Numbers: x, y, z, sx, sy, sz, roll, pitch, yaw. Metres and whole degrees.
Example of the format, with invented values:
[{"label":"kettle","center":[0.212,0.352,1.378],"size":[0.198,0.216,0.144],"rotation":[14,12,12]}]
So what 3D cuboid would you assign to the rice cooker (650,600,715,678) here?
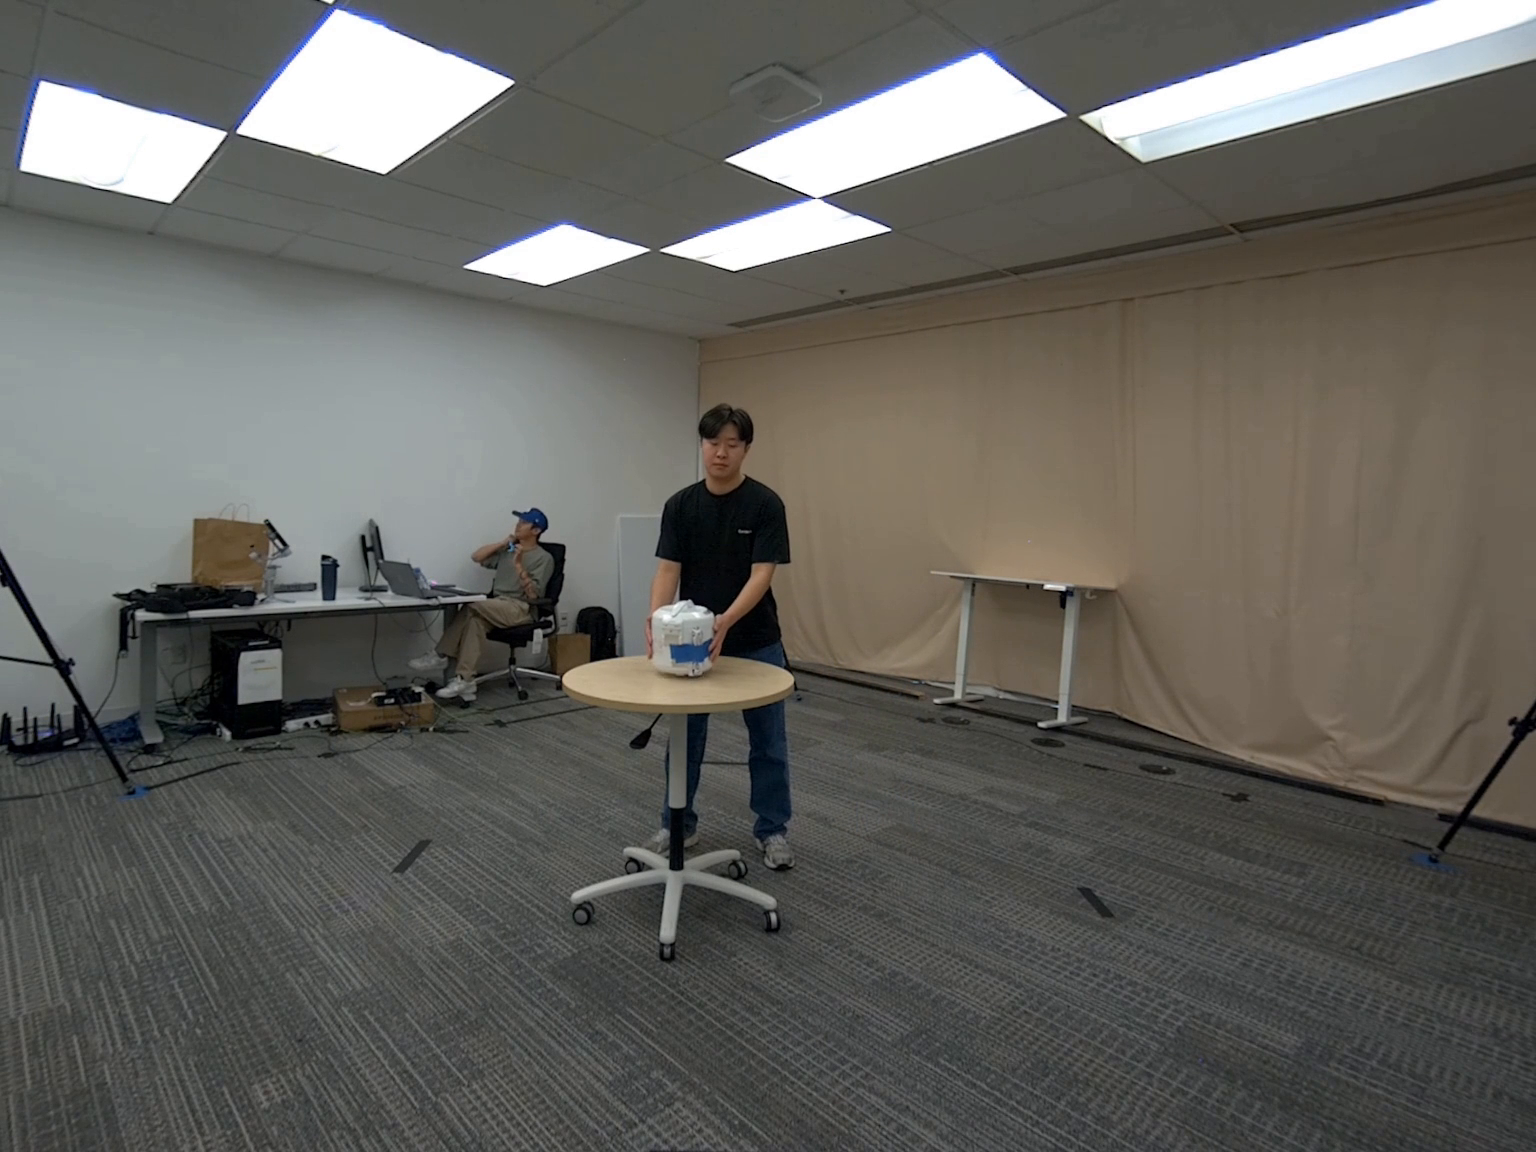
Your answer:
[{"label":"rice cooker","center":[-0.295,0.200,2.813],"size":[0.220,0.232,0.218],"rotation":[2,7,17]}]
